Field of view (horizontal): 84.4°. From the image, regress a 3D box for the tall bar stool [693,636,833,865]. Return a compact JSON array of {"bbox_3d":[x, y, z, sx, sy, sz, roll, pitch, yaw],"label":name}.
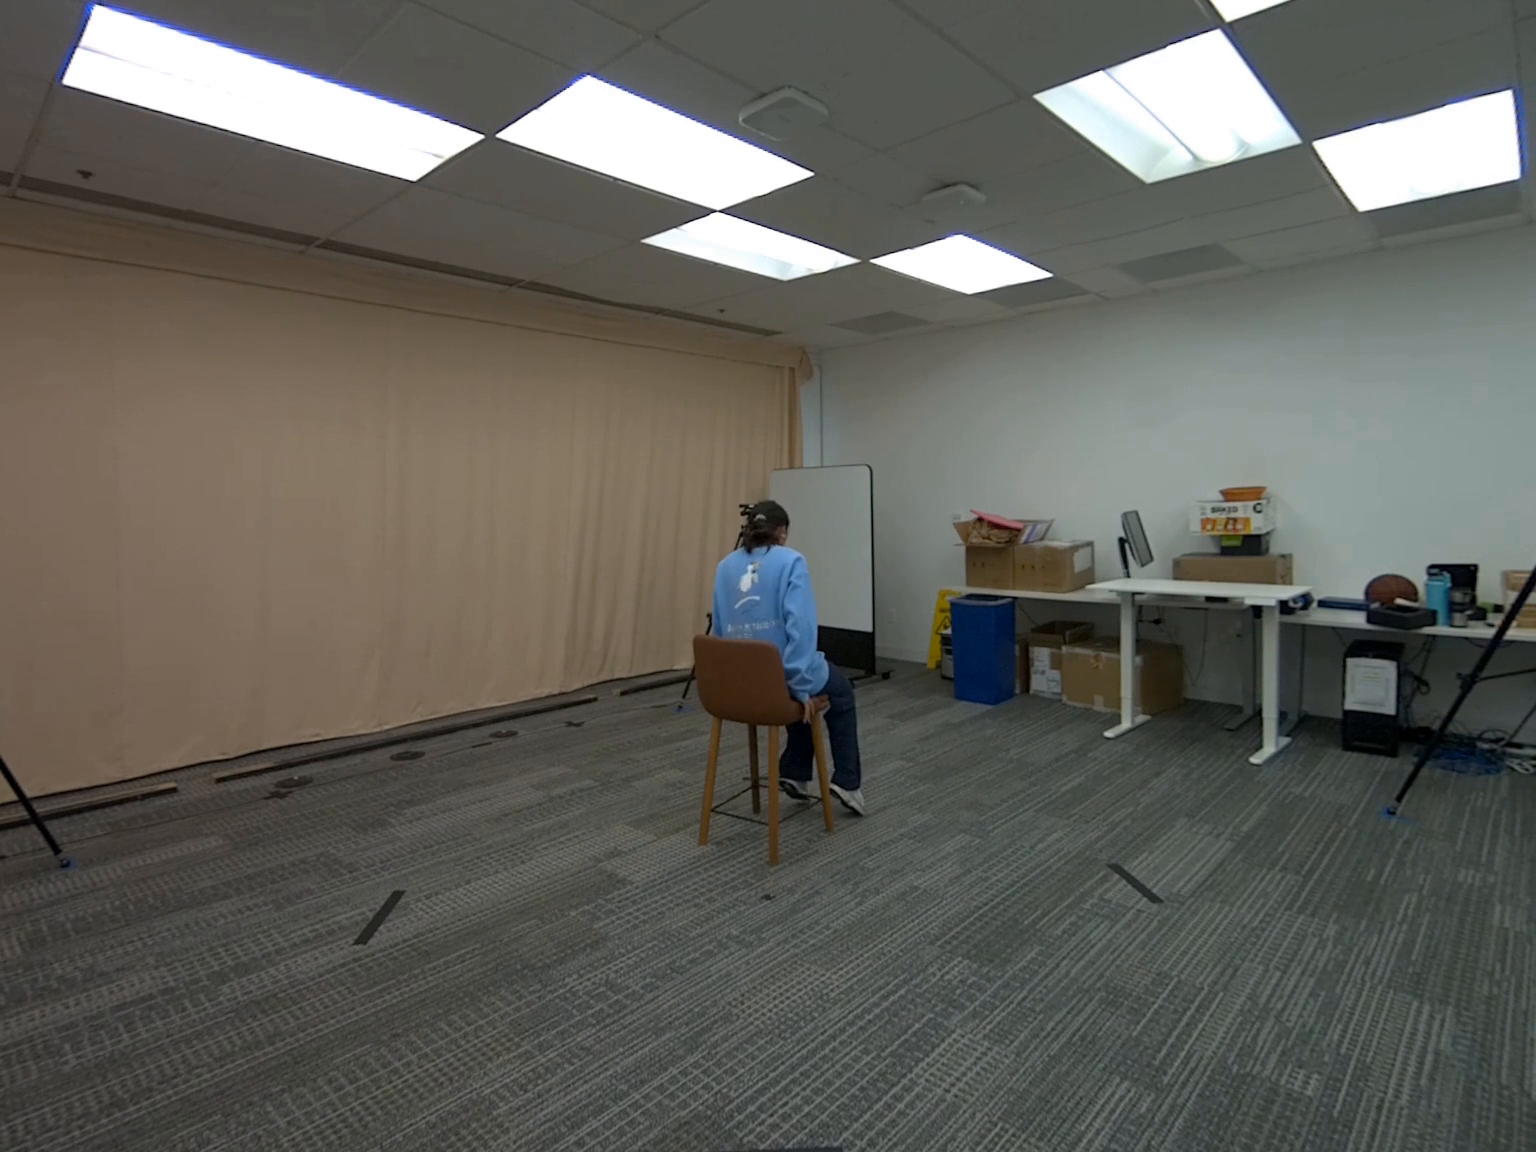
[{"bbox_3d":[-0.020,0.662,3.501,0.471,0.887,0.454,1,5,35],"label":"tall bar stool"}]
